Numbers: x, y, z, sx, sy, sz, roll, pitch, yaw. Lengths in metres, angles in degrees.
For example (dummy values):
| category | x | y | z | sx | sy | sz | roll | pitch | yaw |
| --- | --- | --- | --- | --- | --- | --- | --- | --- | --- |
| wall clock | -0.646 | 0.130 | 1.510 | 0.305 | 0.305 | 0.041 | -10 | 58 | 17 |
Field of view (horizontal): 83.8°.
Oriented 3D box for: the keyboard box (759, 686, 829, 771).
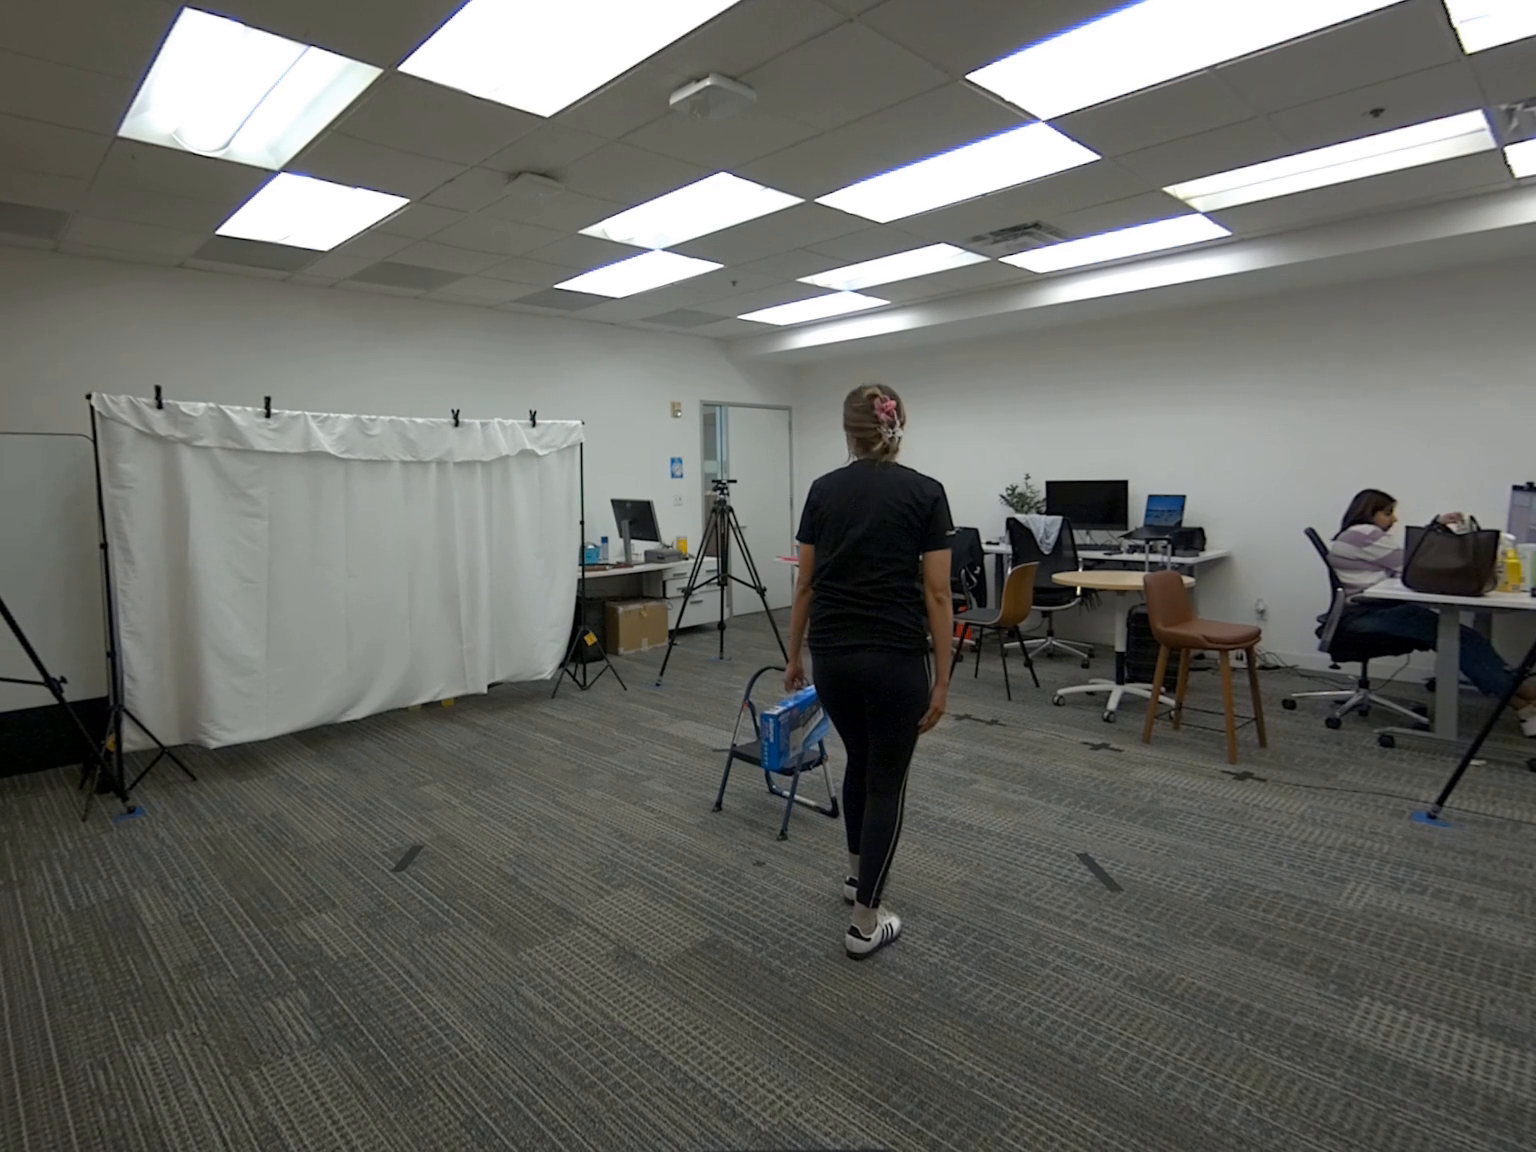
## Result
| category | x | y | z | sx | sy | sz | roll | pitch | yaw |
| --- | --- | --- | --- | --- | --- | --- | --- | --- | --- |
| keyboard box | 0.100 | 0.489 | 2.795 | 0.060 | 0.175 | 0.428 | 0 | 5 | 24 |
